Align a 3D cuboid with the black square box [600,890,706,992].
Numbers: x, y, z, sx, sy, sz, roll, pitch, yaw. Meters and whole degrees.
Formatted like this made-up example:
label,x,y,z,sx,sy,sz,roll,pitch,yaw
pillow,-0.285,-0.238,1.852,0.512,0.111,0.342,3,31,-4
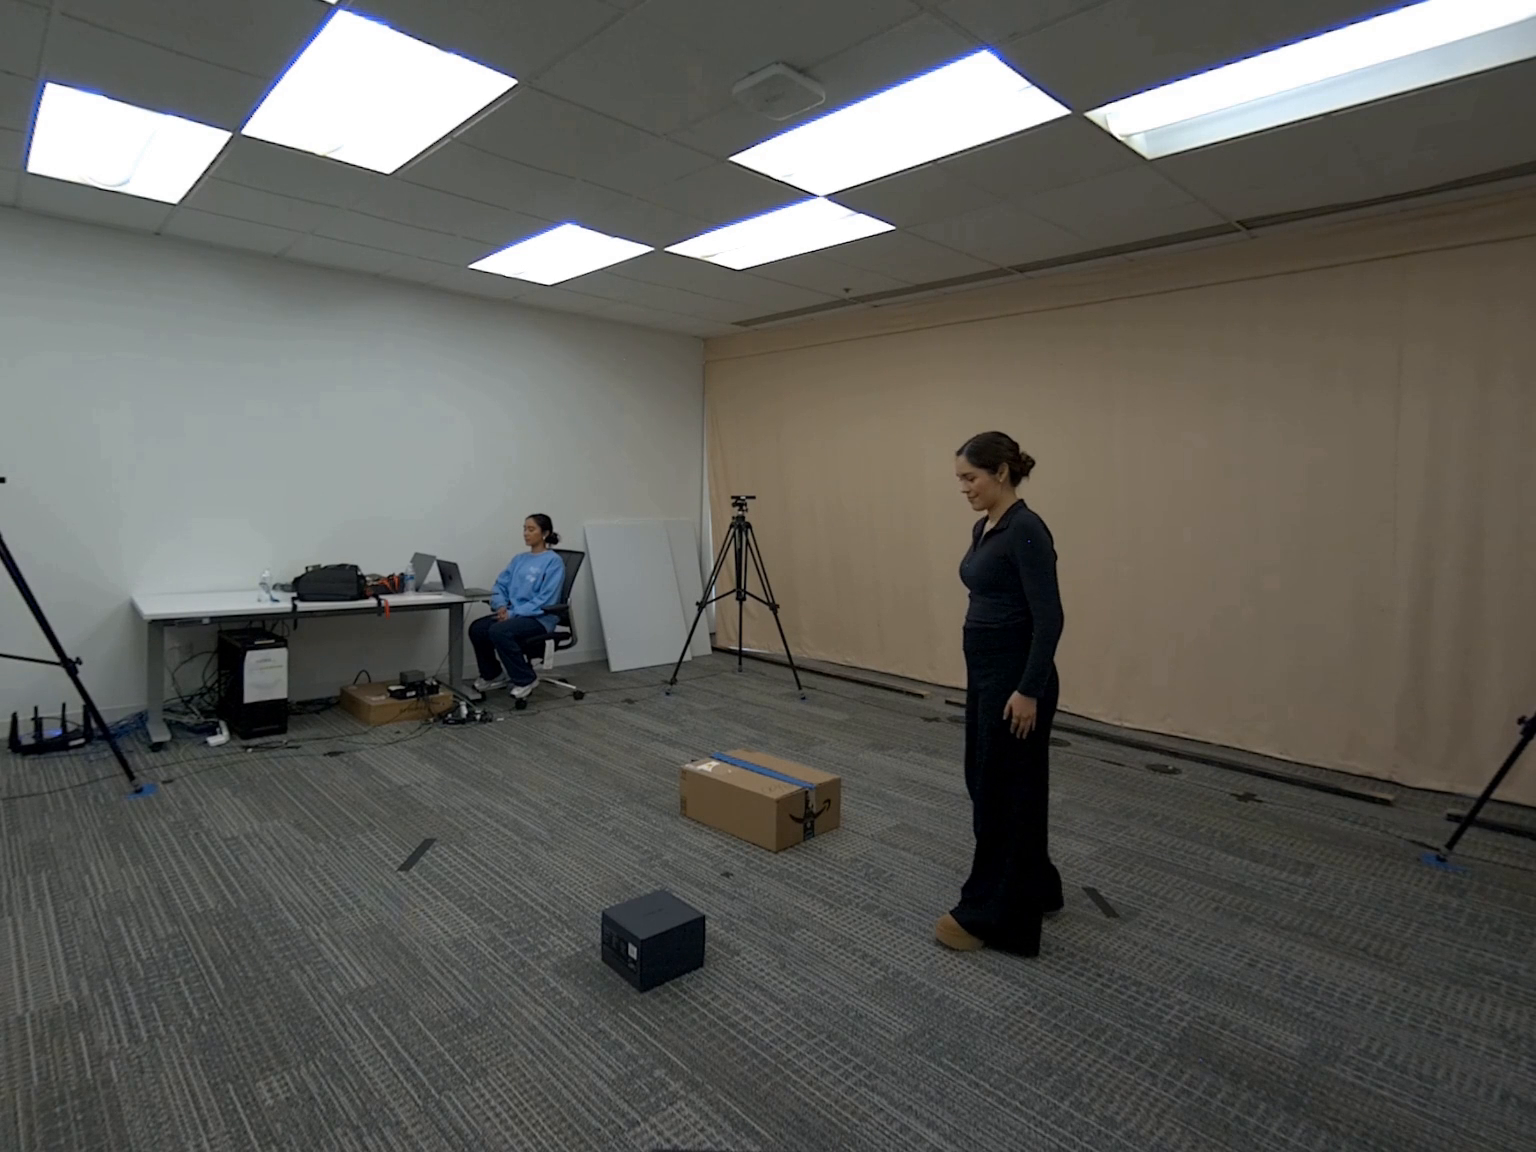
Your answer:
label,x,y,z,sx,sy,sz,roll,pitch,yaw
black square box,-0.344,1.067,2.495,0.223,0.155,0.222,-4,6,-42
